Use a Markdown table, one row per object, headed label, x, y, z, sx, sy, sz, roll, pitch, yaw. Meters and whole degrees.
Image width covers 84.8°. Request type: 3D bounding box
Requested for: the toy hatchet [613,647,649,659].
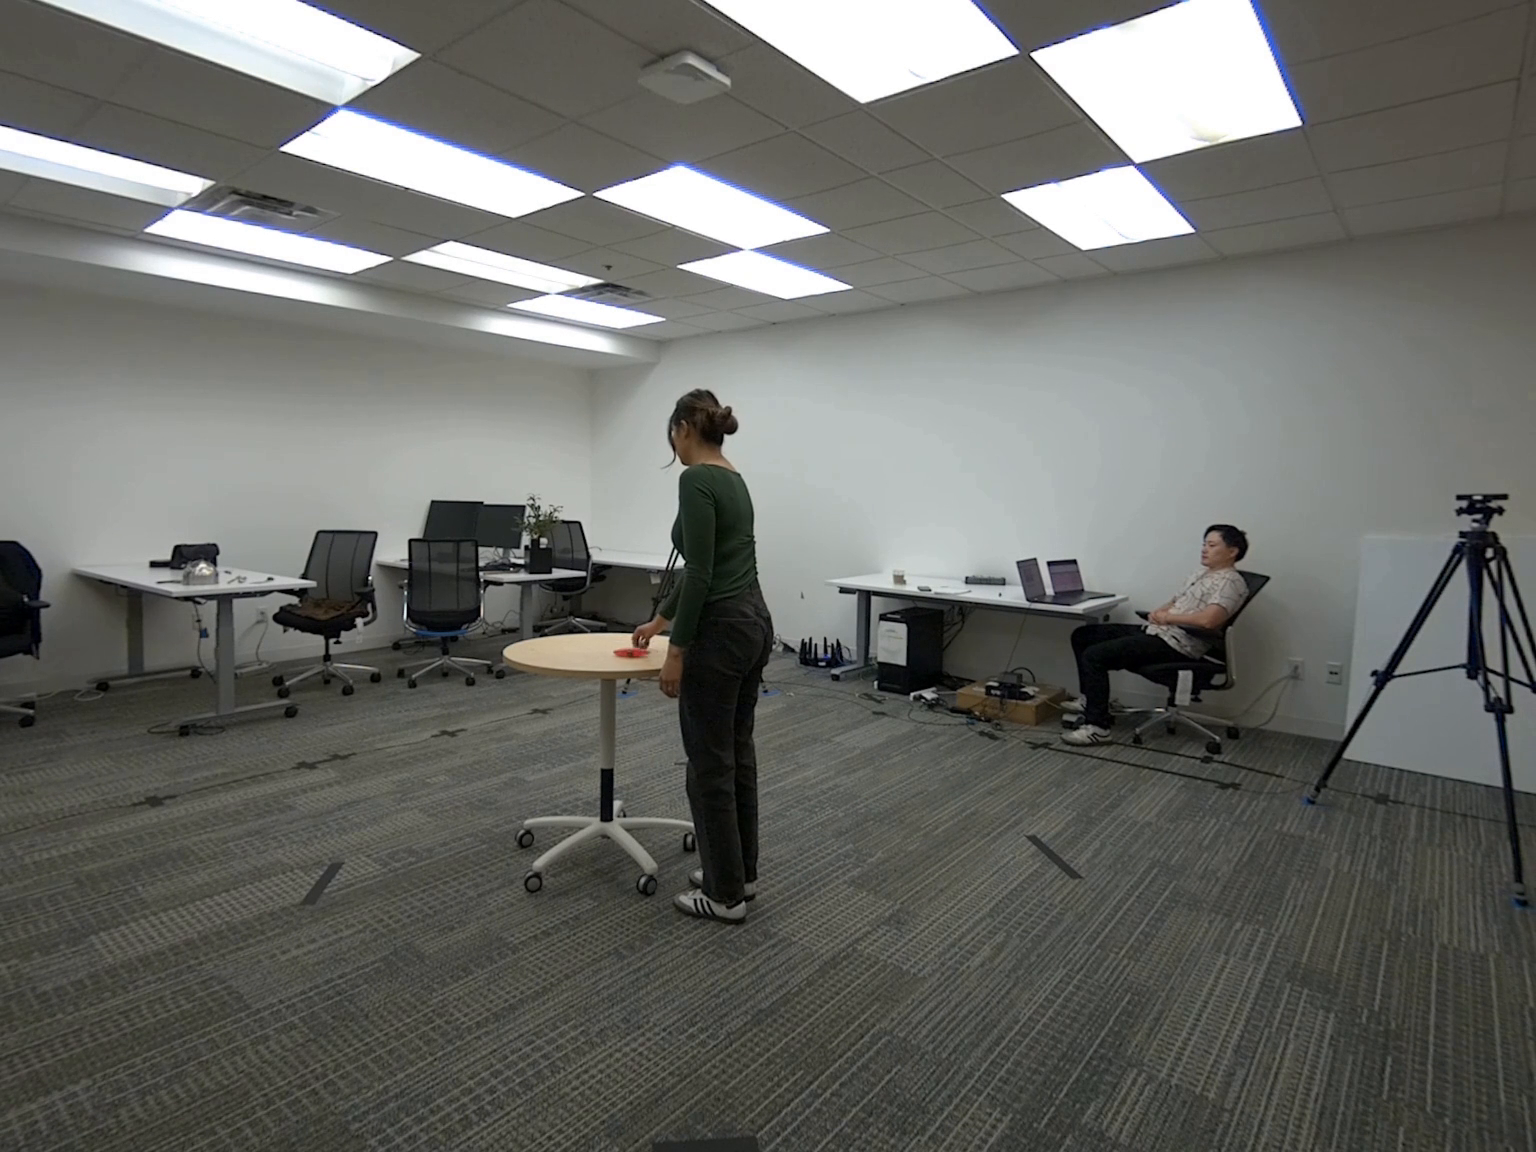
| label | x | y | z | sx | sy | sz | roll | pitch | yaw |
| --- | --- | --- | --- | --- | --- | --- | --- | --- | --- |
| toy hatchet | -0.521 | 0.265 | 3.150 | 0.130 | 0.029 | 0.273 | -2 | 4 | -11 |
